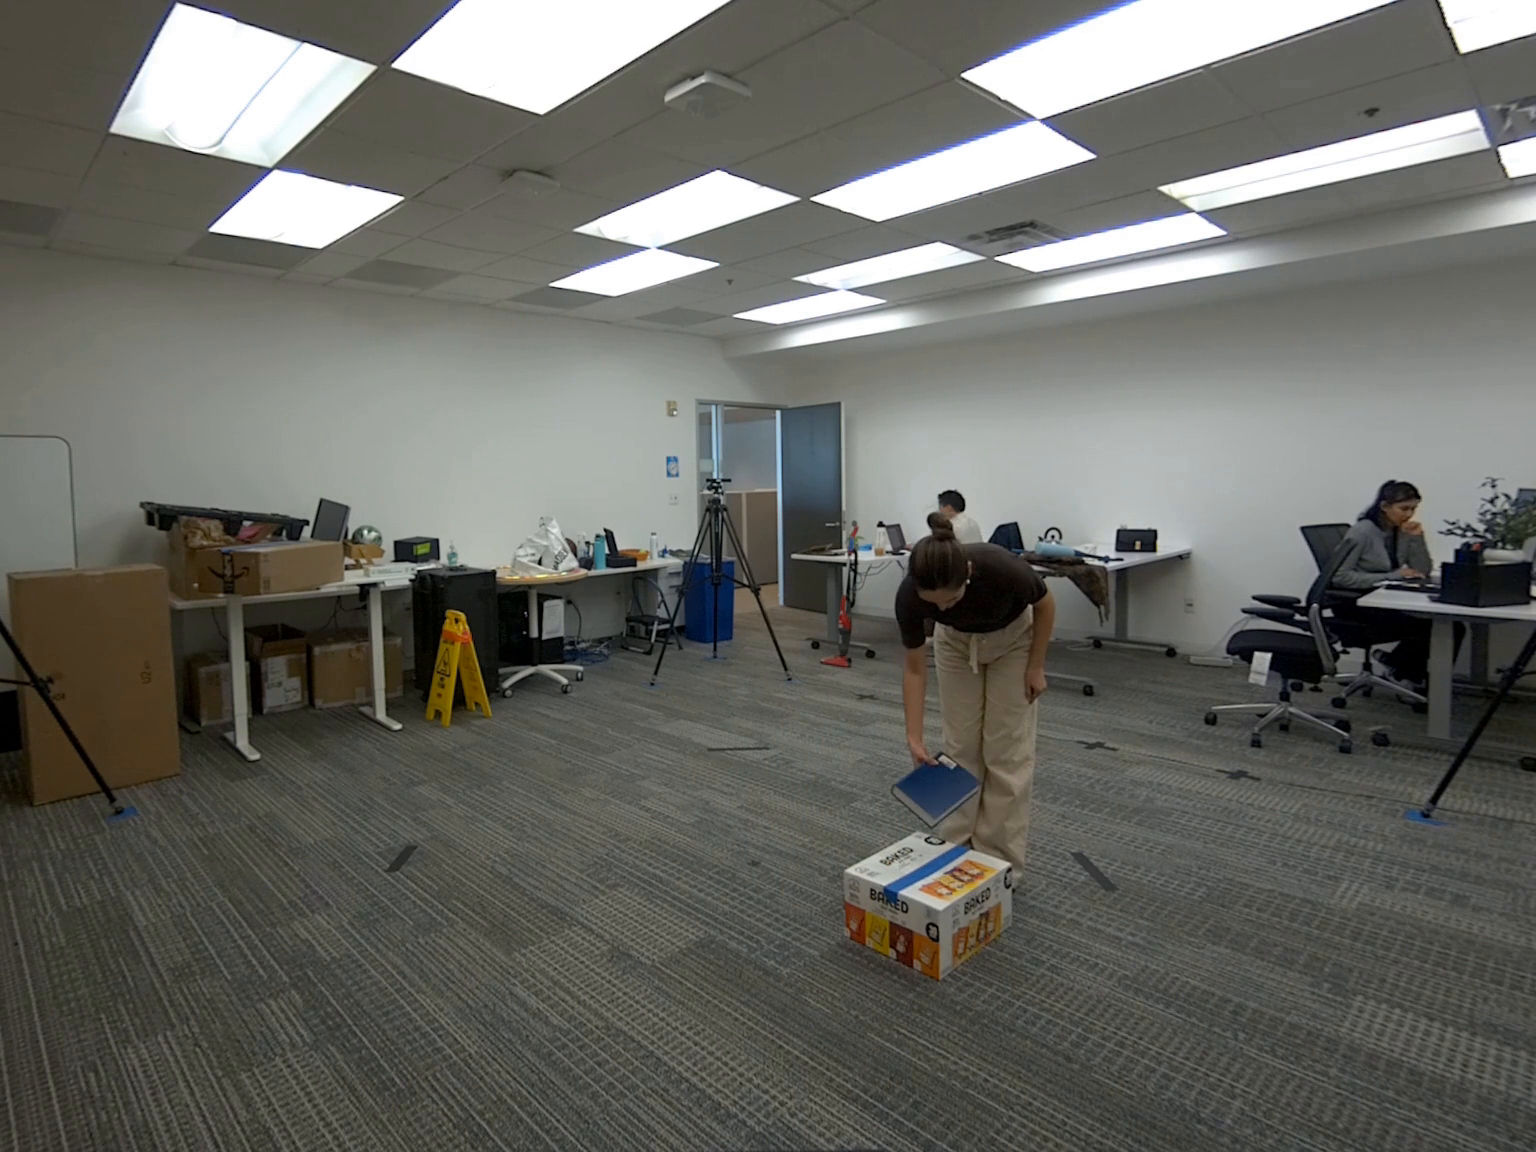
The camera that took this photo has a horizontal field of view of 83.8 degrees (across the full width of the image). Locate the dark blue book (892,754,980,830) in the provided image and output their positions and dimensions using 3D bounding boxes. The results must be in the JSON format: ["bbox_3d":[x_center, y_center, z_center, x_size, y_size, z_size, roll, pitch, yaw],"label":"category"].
[{"bbox_3d":[0.528,0.656,2.633,0.241,0.044,0.170,-23,41,-37],"label":"dark blue book"}]
